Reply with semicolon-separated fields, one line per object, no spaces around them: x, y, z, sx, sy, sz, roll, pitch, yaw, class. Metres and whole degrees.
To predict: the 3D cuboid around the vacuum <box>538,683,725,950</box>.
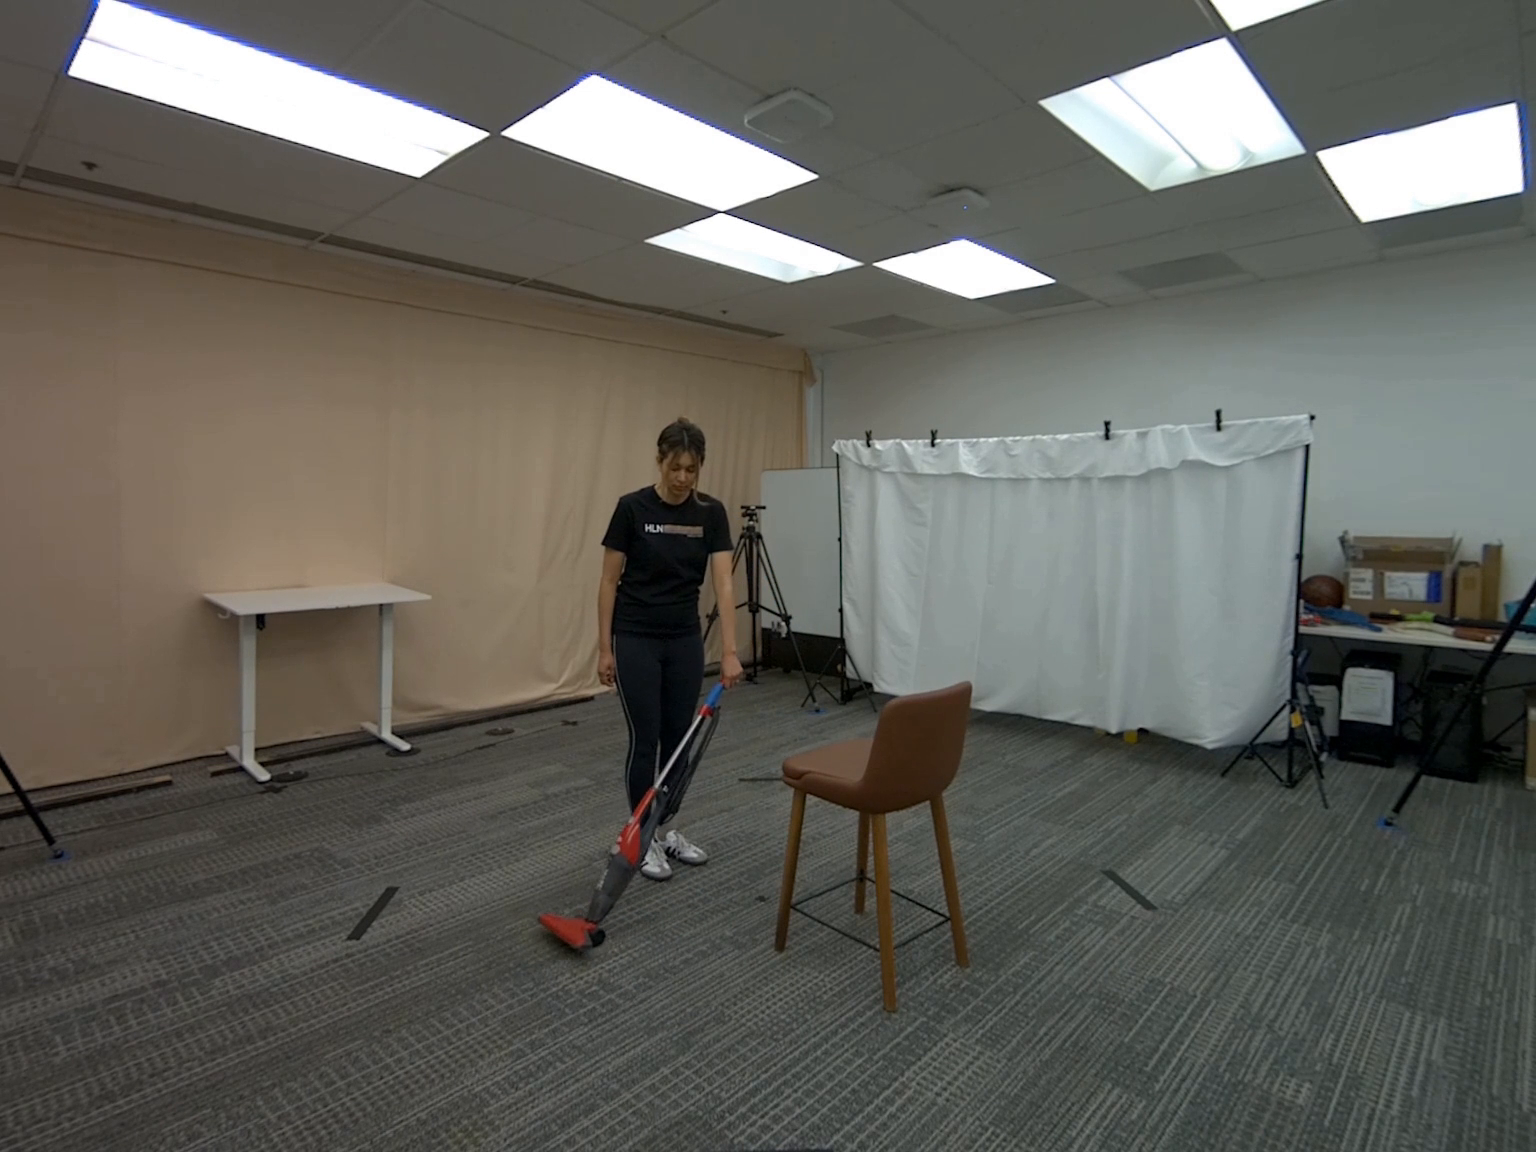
-0.351;0.748;2.912;0.261;1.047;0.139;7;-36;45;vacuum
